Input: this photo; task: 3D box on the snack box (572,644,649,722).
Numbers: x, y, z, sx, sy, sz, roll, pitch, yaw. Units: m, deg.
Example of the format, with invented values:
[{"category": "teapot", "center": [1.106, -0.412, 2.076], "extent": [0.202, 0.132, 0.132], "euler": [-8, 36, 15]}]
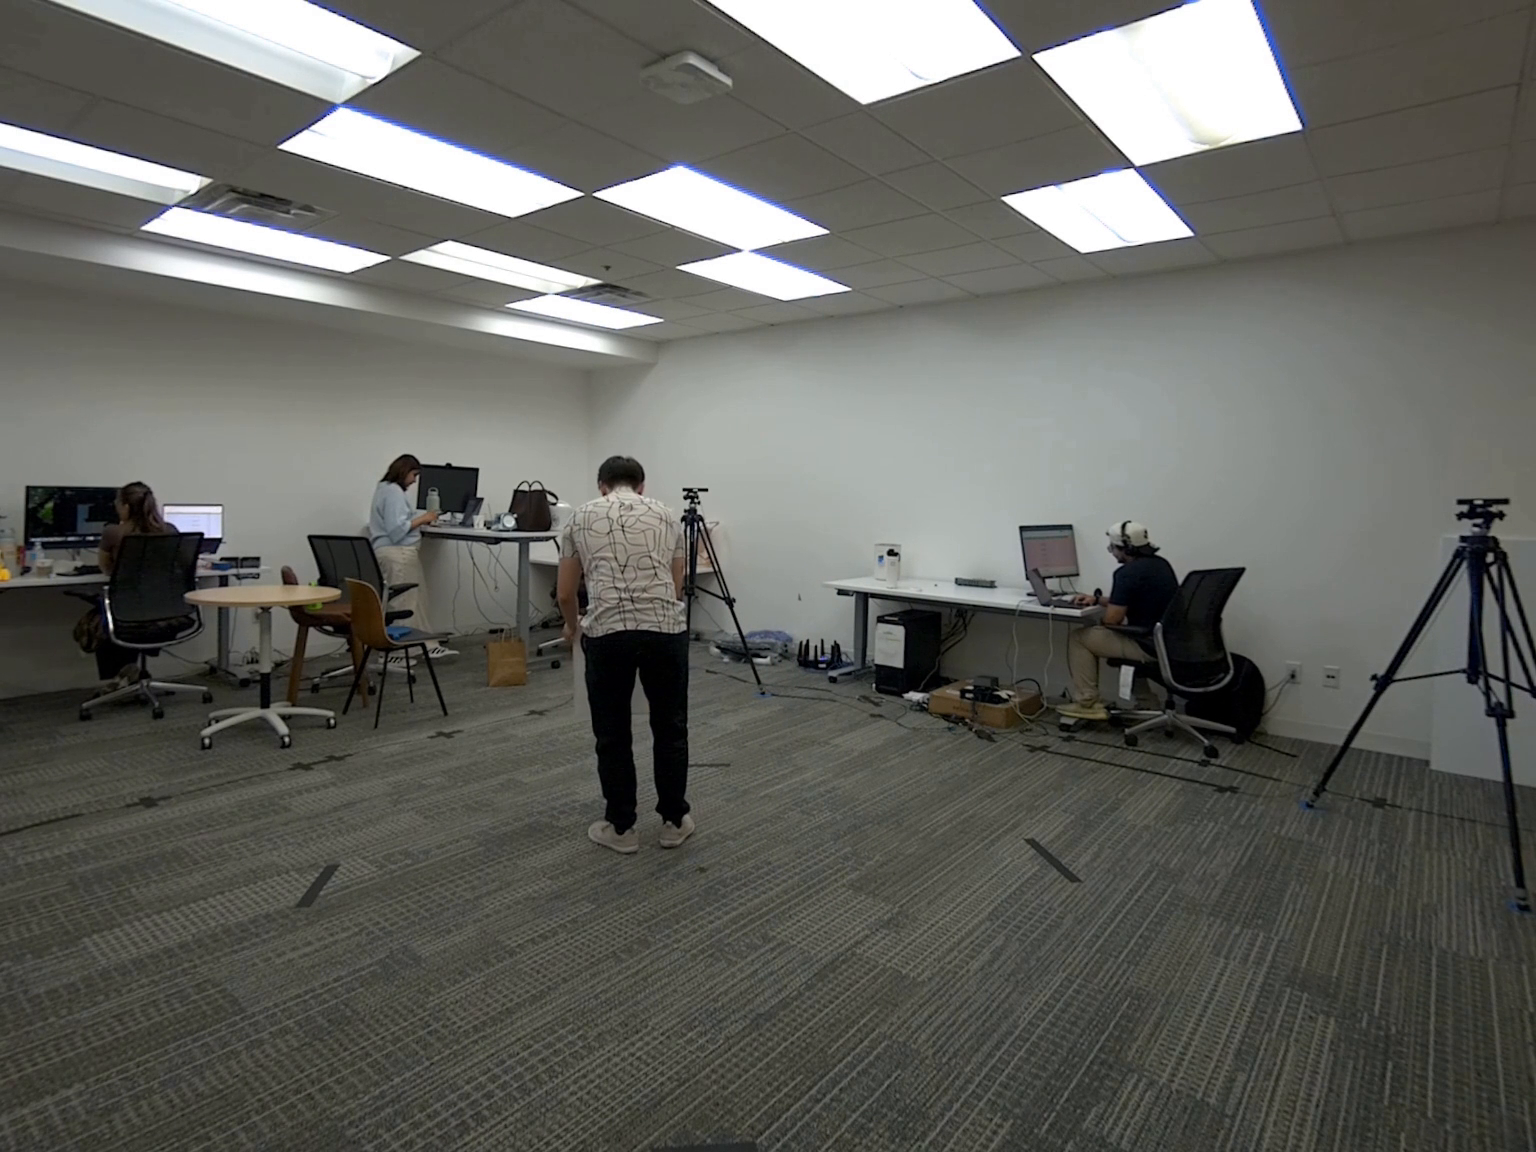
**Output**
[{"category": "snack box", "center": [-0.697, 0.395, 3.735], "extent": [0.338, 0.407, 0.206], "euler": [-1, -5, -8]}]
